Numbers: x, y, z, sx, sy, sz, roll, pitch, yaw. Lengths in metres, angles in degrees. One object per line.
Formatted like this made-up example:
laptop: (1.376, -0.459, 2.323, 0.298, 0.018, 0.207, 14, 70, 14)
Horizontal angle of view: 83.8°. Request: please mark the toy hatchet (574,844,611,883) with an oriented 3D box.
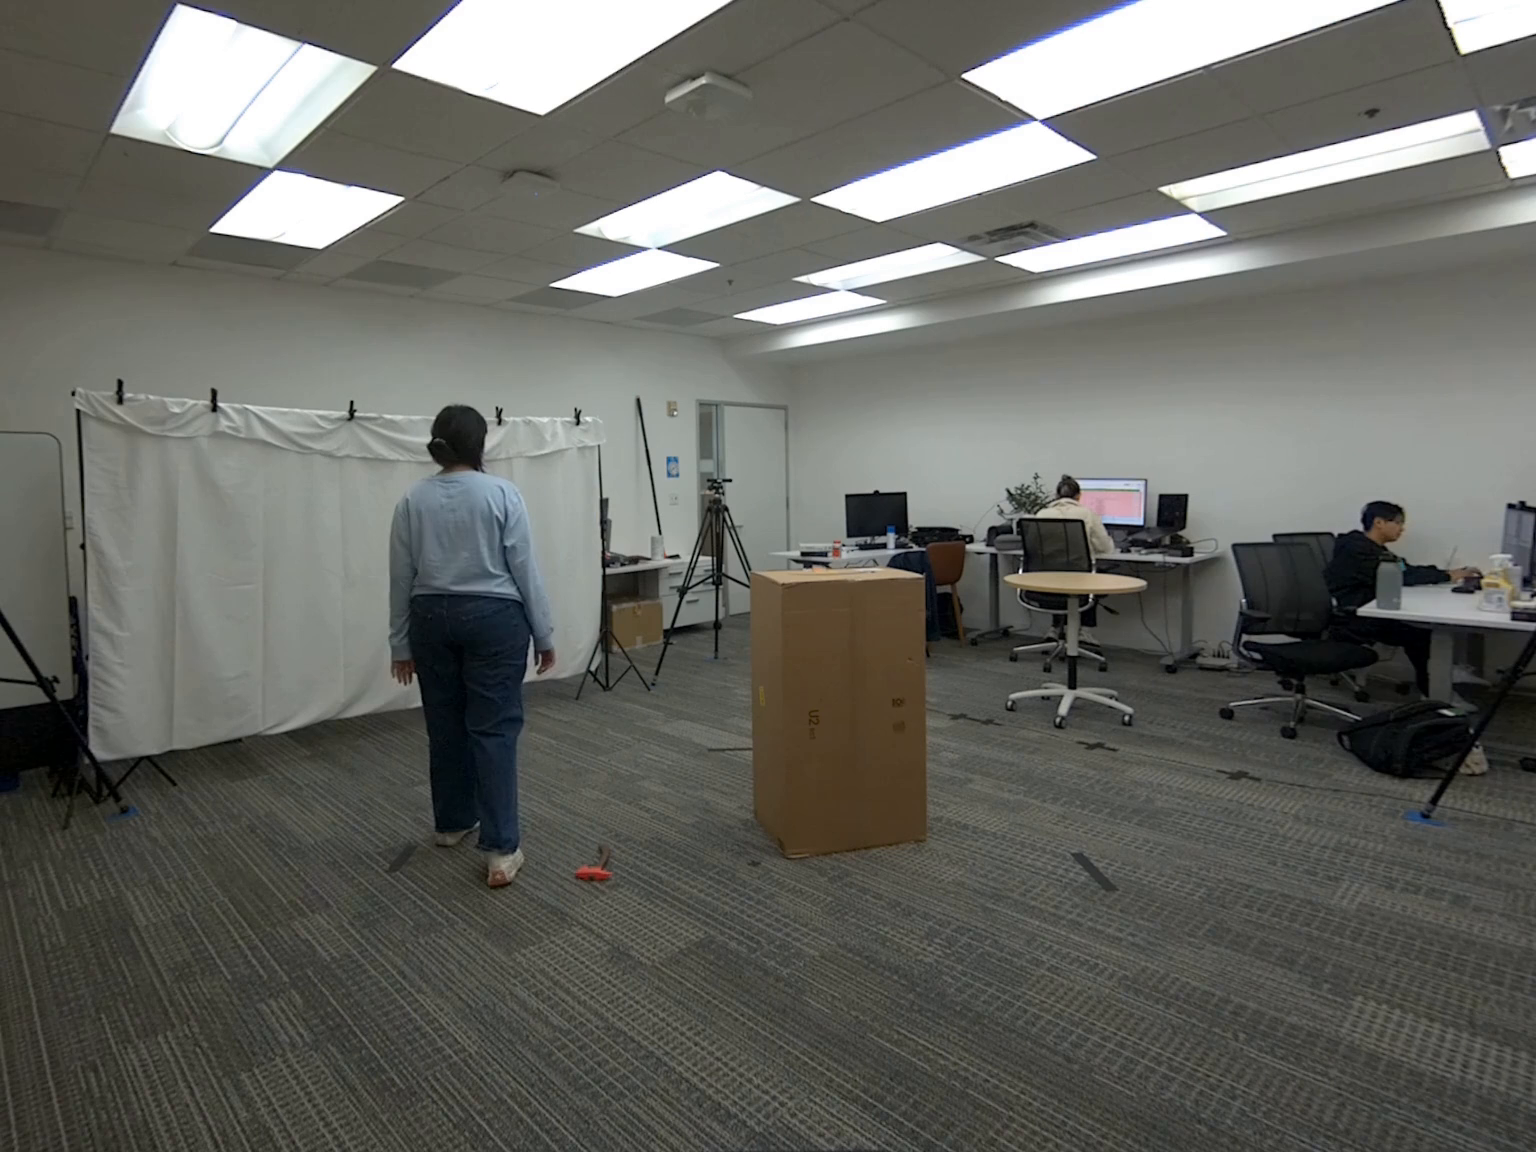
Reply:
toy hatchet: (-0.641, 1.041, 3.112, 0.130, 0.029, 0.274, -5, 5, -13)
